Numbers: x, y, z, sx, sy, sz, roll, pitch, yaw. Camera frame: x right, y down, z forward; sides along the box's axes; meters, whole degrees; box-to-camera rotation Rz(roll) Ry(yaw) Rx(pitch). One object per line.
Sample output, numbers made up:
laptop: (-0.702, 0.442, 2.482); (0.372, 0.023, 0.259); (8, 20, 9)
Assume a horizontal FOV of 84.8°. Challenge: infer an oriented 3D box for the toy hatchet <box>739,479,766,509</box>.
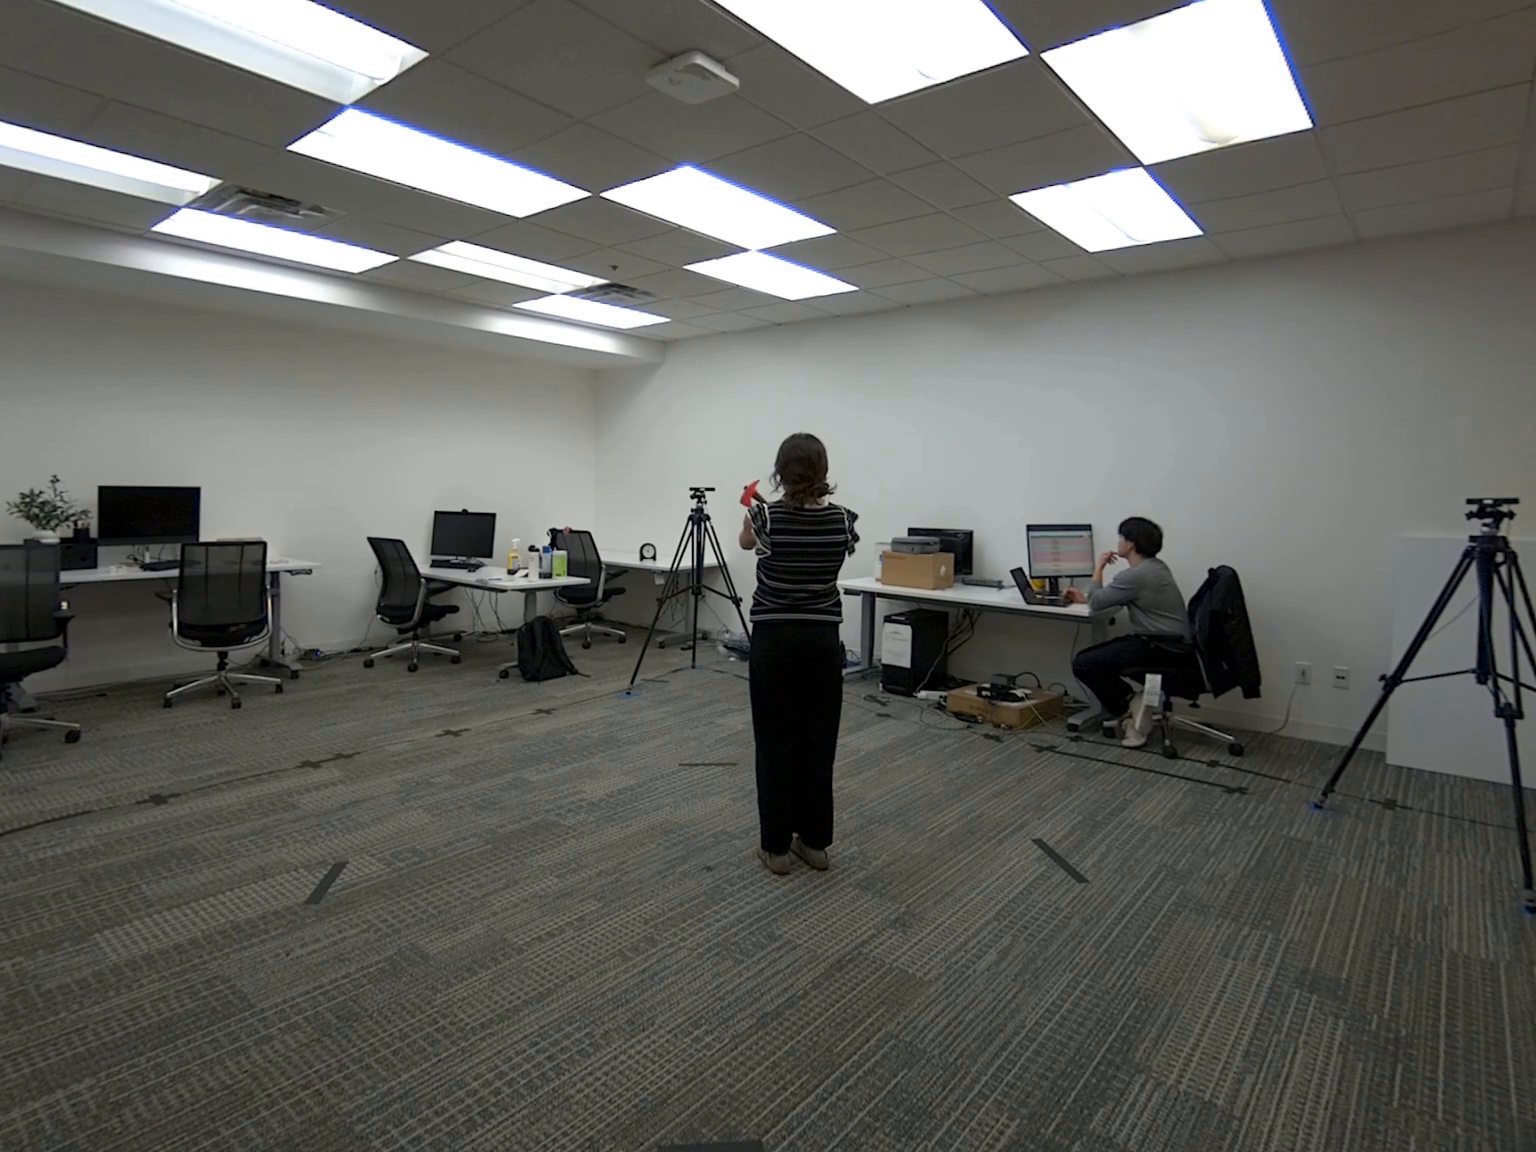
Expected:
toy hatchet: (-0.041, -0.279, 3.703); (0.132, 0.271, 0.029); (-29, -4, 14)
